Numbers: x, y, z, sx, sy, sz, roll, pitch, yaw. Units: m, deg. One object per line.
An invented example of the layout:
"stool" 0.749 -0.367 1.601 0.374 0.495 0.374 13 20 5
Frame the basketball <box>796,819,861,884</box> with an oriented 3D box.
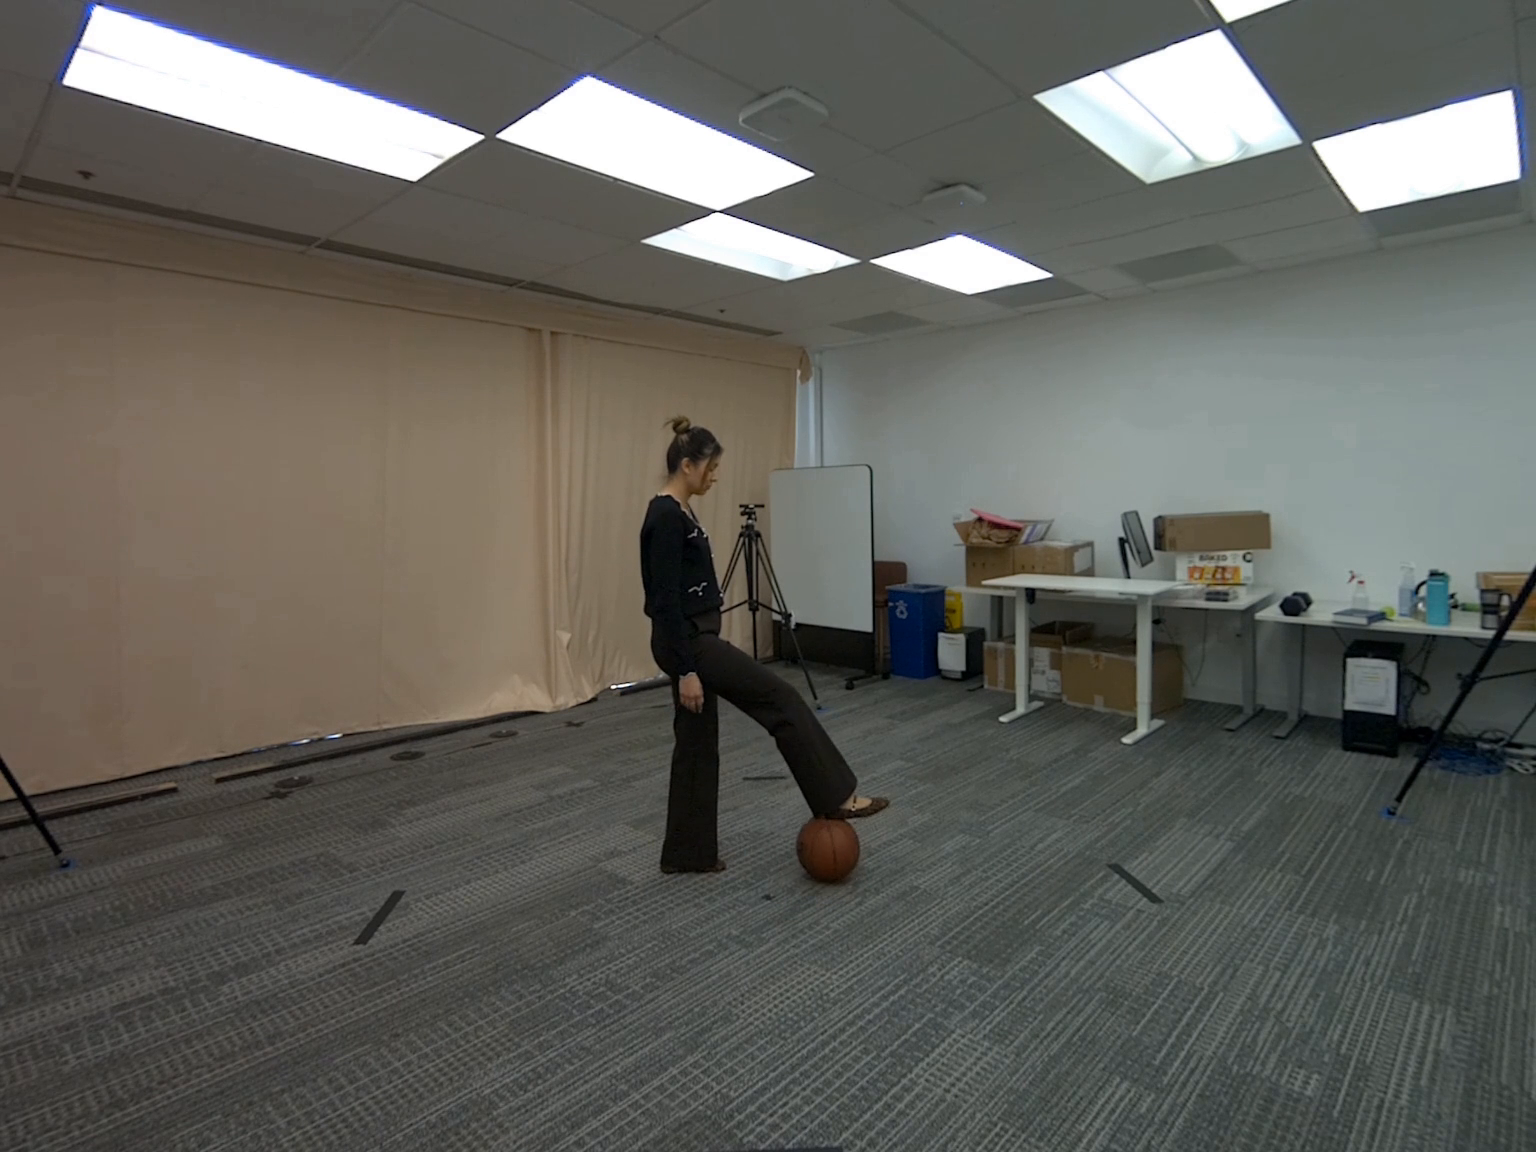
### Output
"basketball" 0.220 1.008 3.125 0.236 0.235 0.237 -1 4 -2
